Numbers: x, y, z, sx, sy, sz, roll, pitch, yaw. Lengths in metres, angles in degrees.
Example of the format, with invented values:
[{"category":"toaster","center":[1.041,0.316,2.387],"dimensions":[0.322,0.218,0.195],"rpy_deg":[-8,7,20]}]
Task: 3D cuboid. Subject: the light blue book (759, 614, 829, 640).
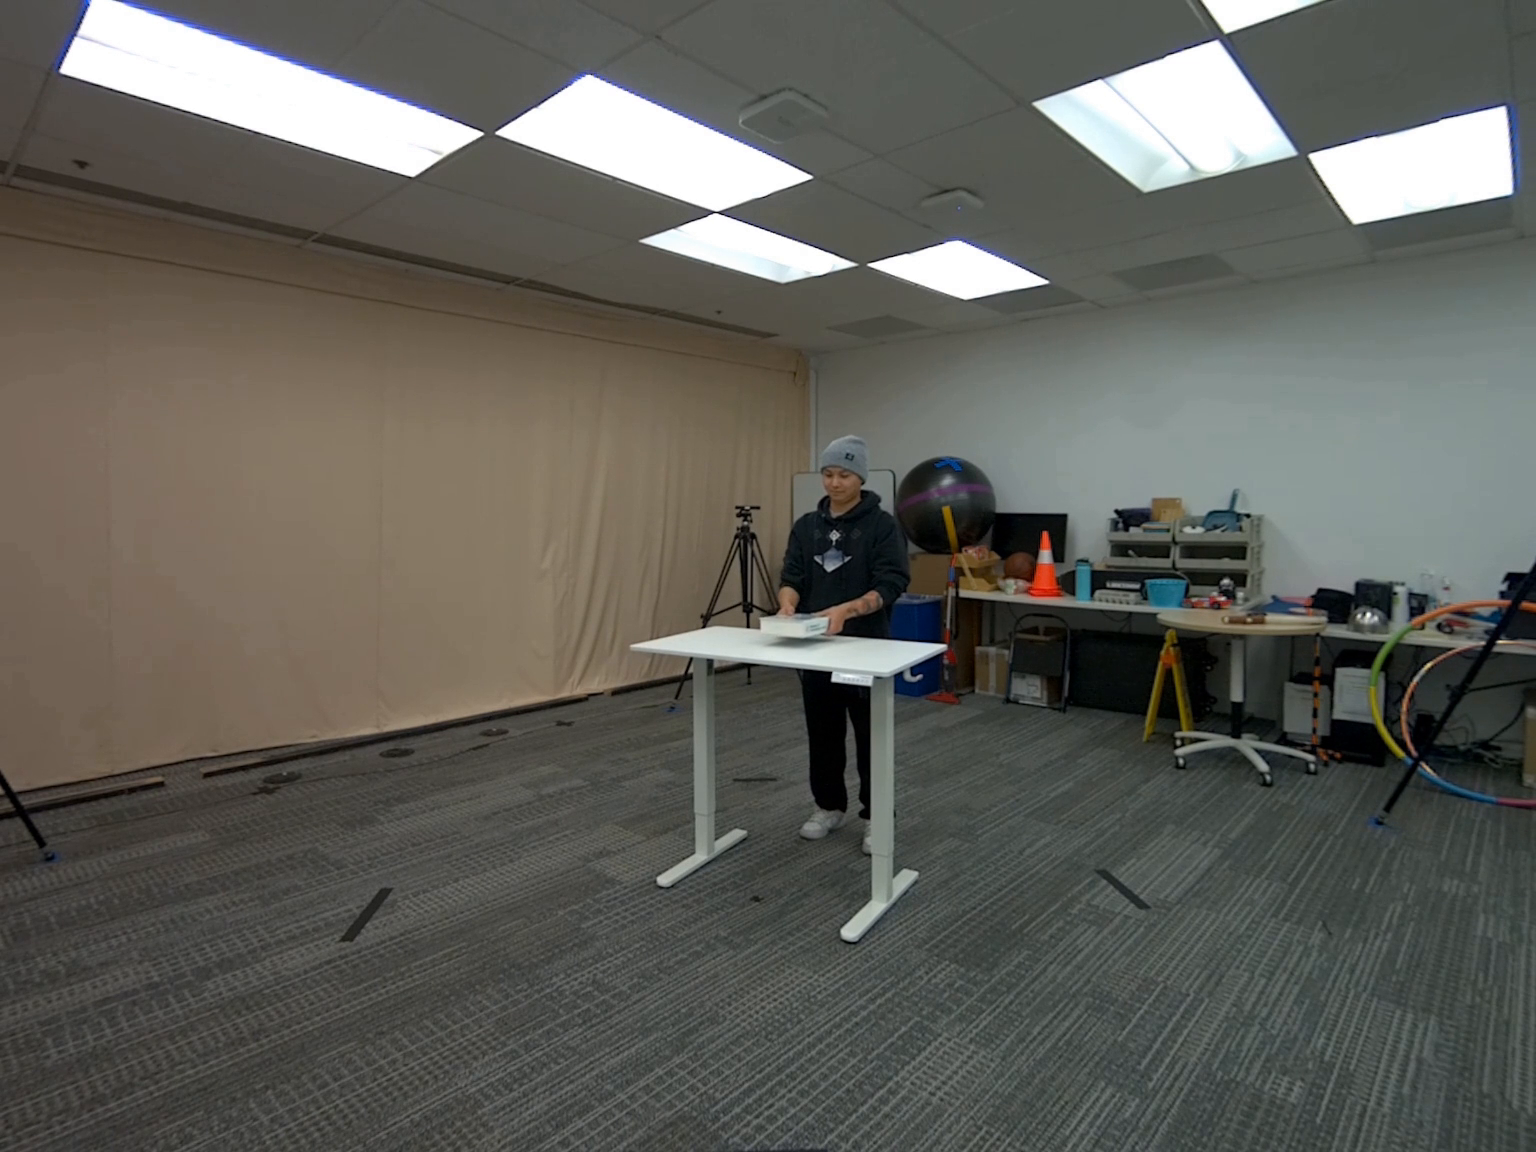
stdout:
[{"category":"light blue book","center":[0.099,0.185,3.134],"dimensions":[0.196,0.059,0.254],"rpy_deg":[2,1,26]}]
